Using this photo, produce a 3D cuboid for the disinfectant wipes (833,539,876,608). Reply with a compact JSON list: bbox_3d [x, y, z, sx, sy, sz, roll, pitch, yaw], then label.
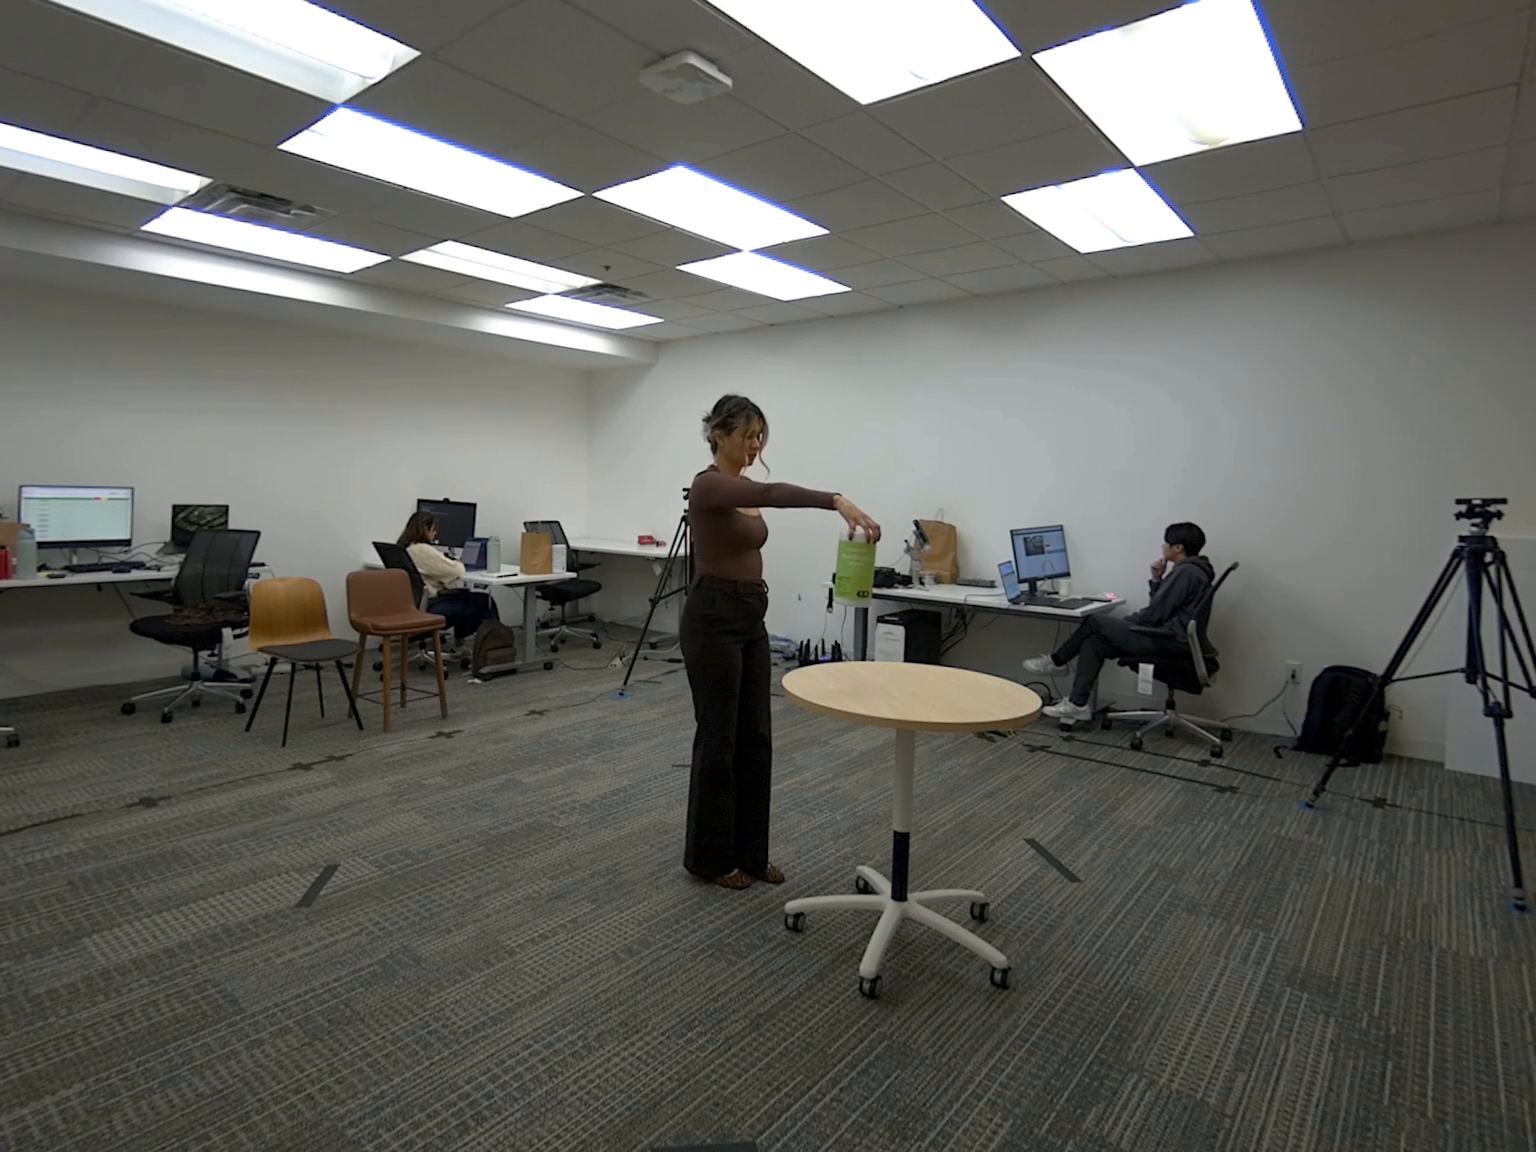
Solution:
[{"bbox_3d":[0.249,-0.025,2.482,0.117,0.217,0.118,3,3,-2],"label":"disinfectant wipes"}]
